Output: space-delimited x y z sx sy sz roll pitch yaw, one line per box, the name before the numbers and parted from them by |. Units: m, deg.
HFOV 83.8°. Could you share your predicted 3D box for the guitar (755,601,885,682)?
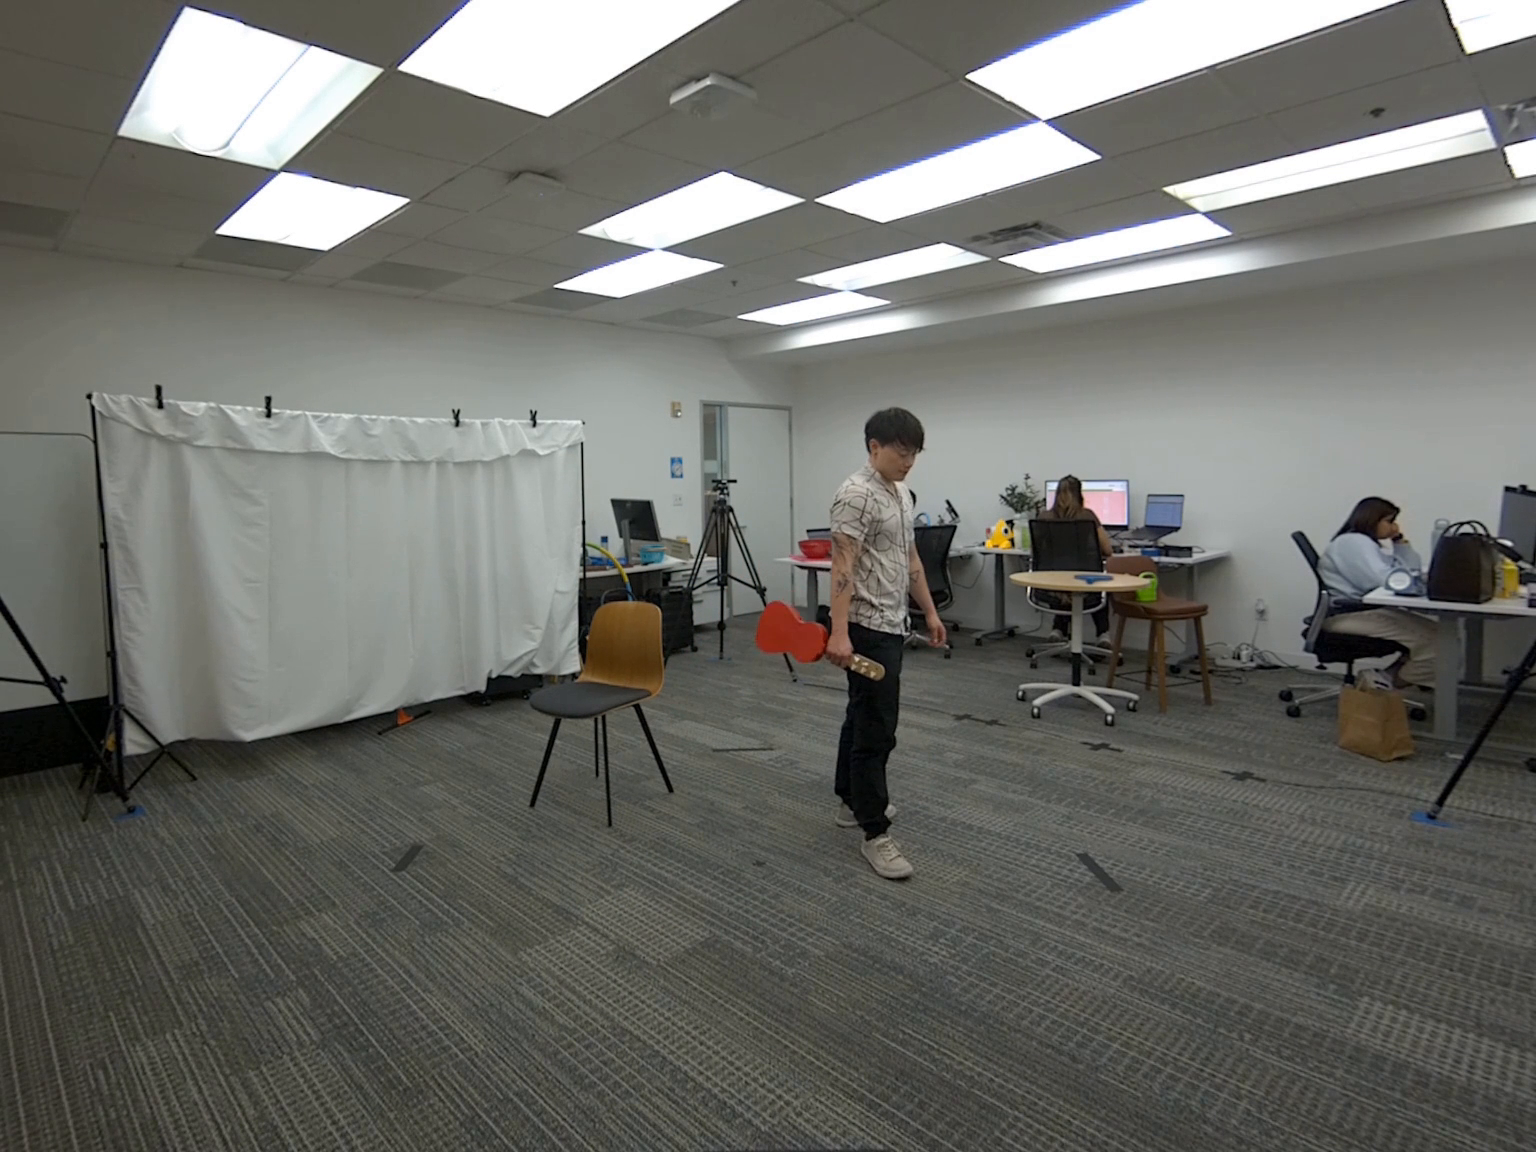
guitar | 0.200 0.225 3.051 0.514 0.193 0.068 14 -4 32
